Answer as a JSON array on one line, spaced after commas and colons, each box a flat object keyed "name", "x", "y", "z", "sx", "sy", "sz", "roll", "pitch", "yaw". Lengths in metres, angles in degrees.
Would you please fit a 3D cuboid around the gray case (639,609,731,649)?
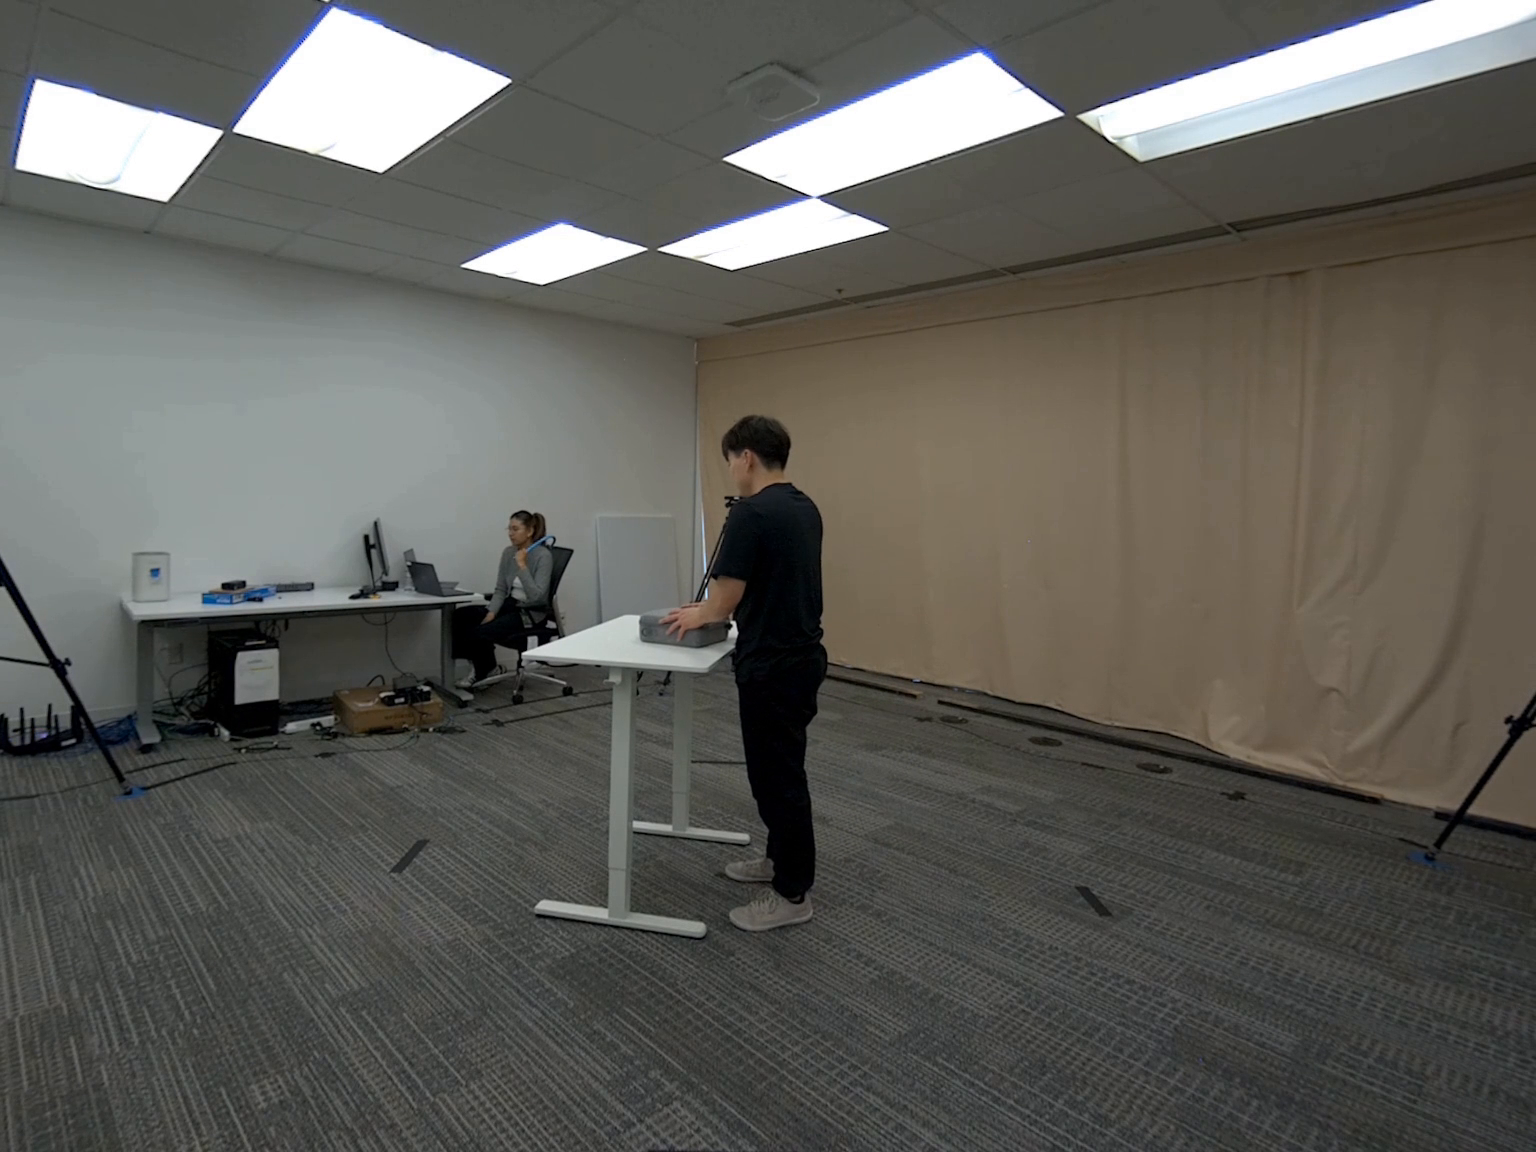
[{"name": "gray case", "x": -0.307, "y": 0.181, "z": 2.980, "sx": 0.266, "sy": 0.104, "sz": 0.253, "roll": 4, "pitch": 7, "yaw": 25}]
